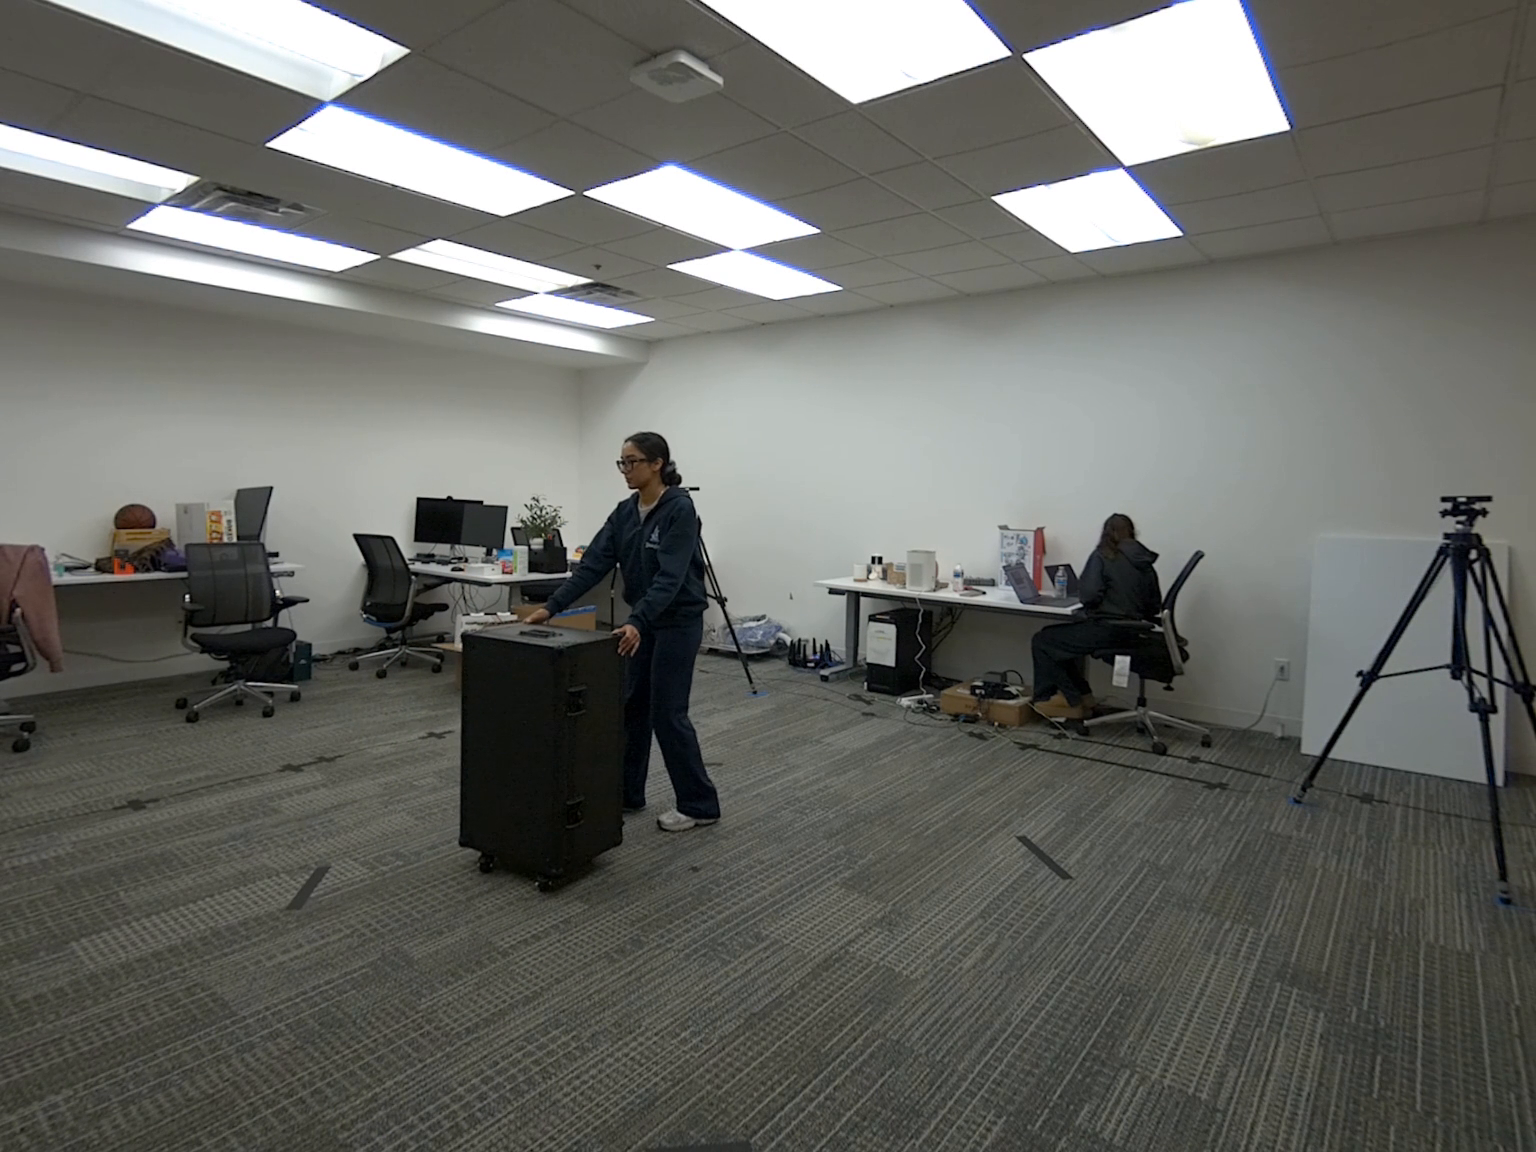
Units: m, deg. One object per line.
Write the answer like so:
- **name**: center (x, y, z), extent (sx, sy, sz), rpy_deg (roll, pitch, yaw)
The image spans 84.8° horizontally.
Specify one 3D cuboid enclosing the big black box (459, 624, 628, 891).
- **big black box**: center (-0.838, 0.630, 3.121), extent (0.537, 0.861, 0.385), rpy_deg (3, 1, 31)
